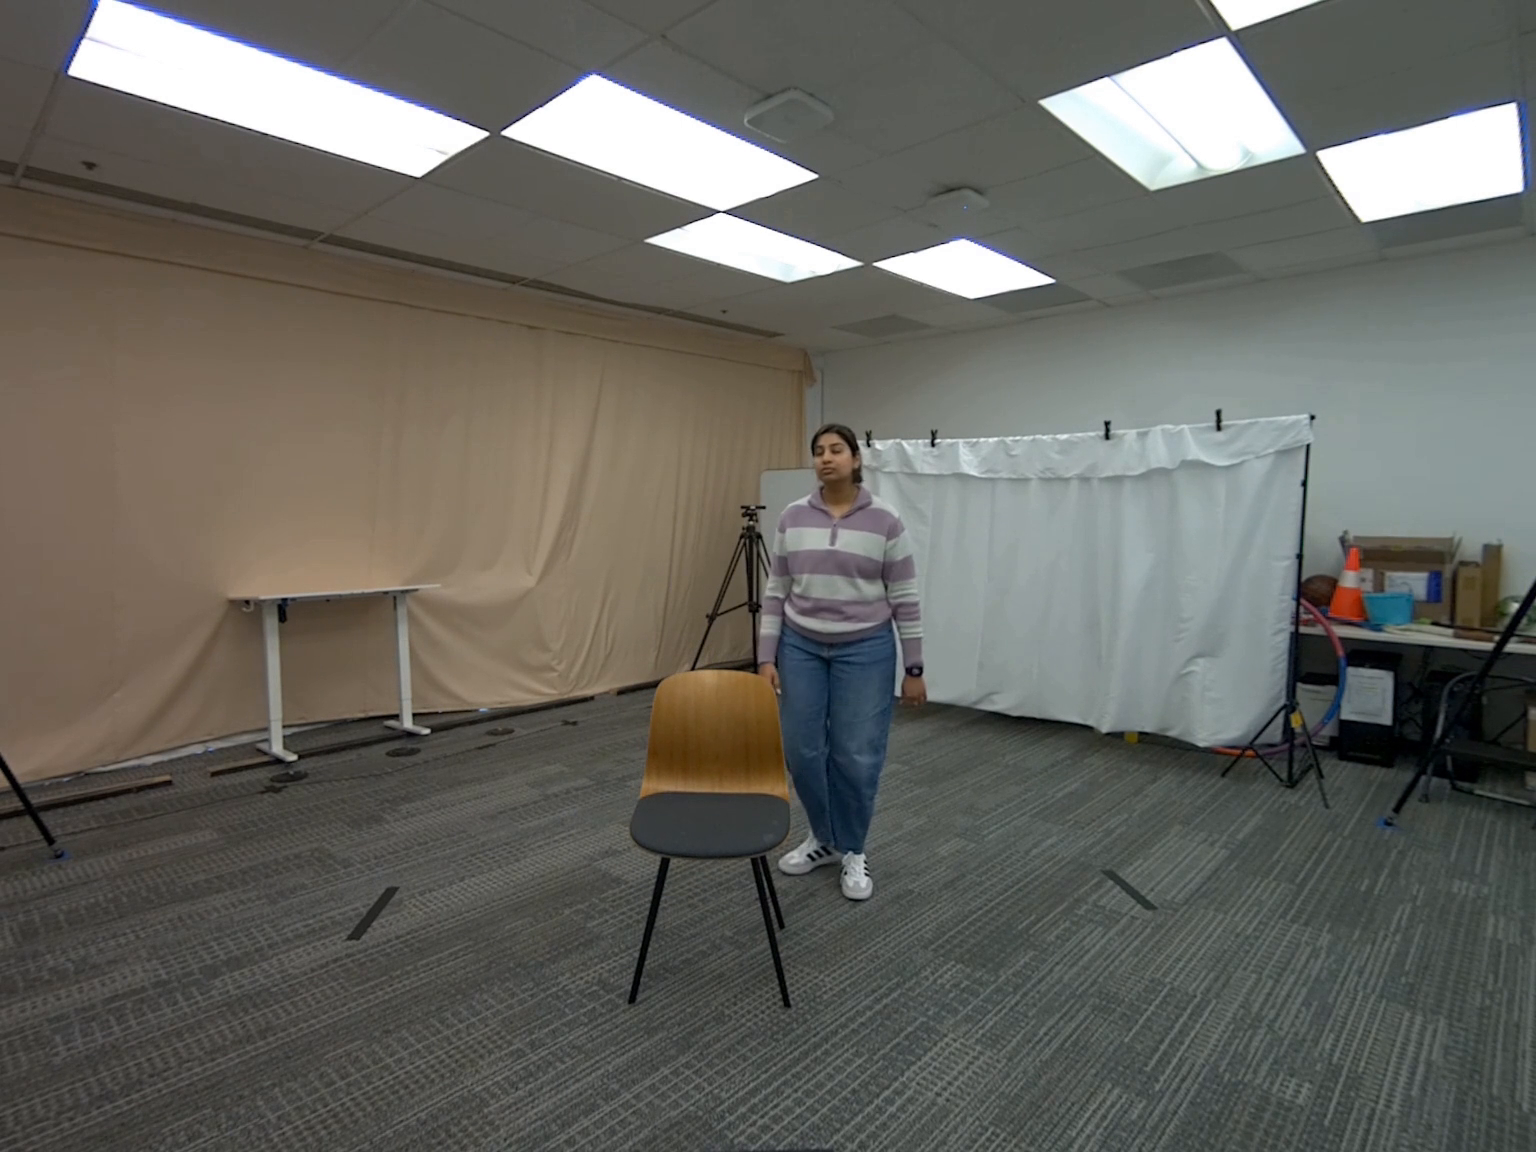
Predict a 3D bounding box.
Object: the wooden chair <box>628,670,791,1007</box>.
[{"bbox_3d":[-0.160,0.755,2.529,0.479,0.878,0.522,1,0,0],"label":"wooden chair"}]
